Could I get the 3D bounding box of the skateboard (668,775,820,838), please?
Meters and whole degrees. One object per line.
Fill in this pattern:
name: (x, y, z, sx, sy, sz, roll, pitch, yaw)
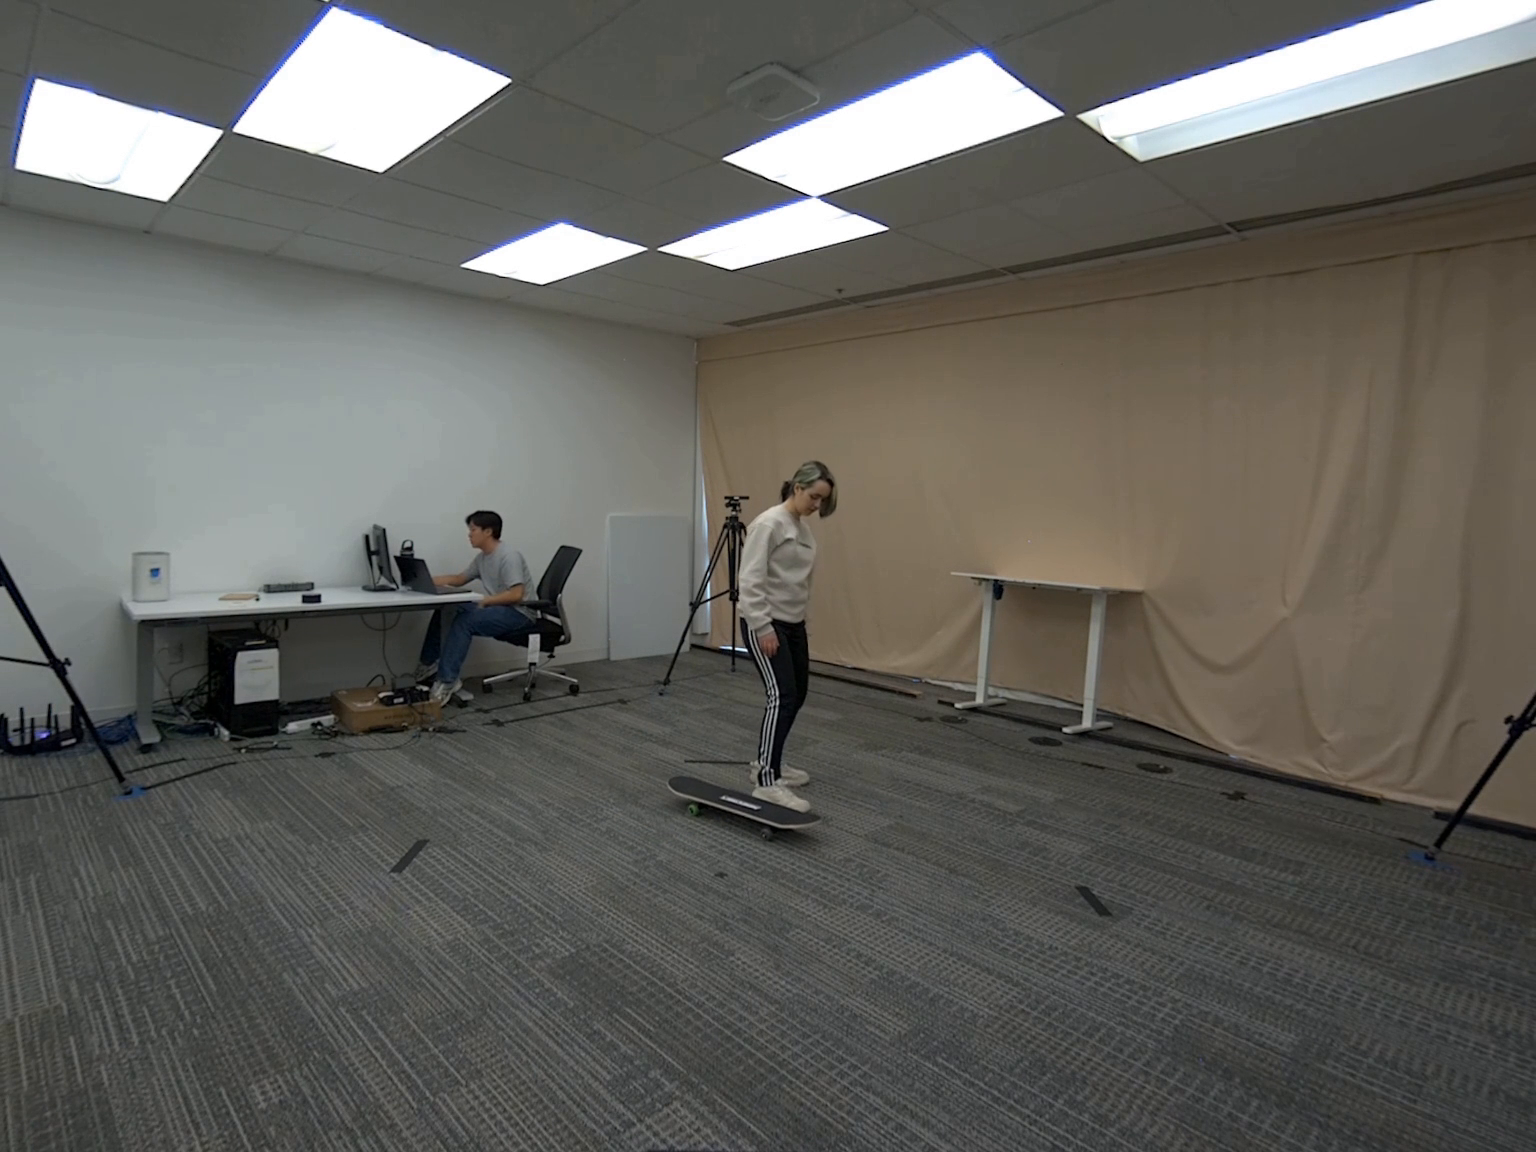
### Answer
skateboard: (-0.126, 1.005, 3.617, 0.805, 0.110, 0.189, 5, 5, 37)
